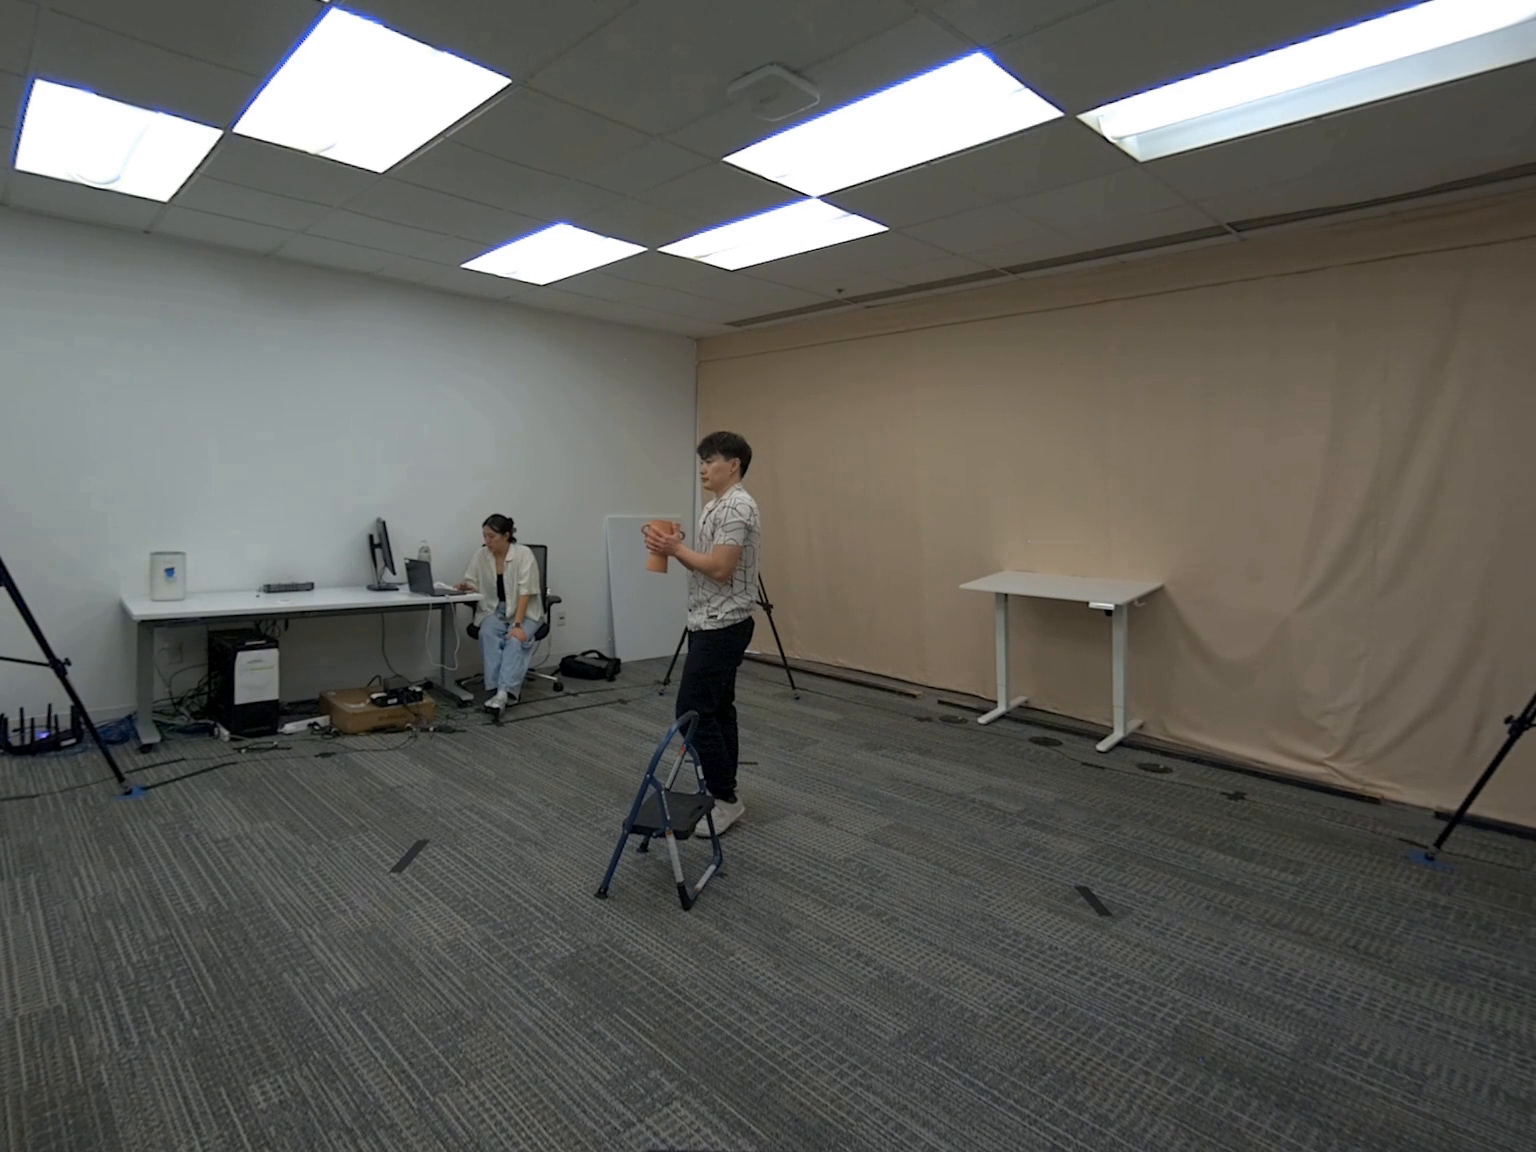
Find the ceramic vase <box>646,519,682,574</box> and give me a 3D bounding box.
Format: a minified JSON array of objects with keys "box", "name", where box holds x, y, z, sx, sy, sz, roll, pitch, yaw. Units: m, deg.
[{"box":[-0.466,-0.127,3.618,0.161,0.220,0.132,10,-2,18],"name":"ceramic vase"}]
